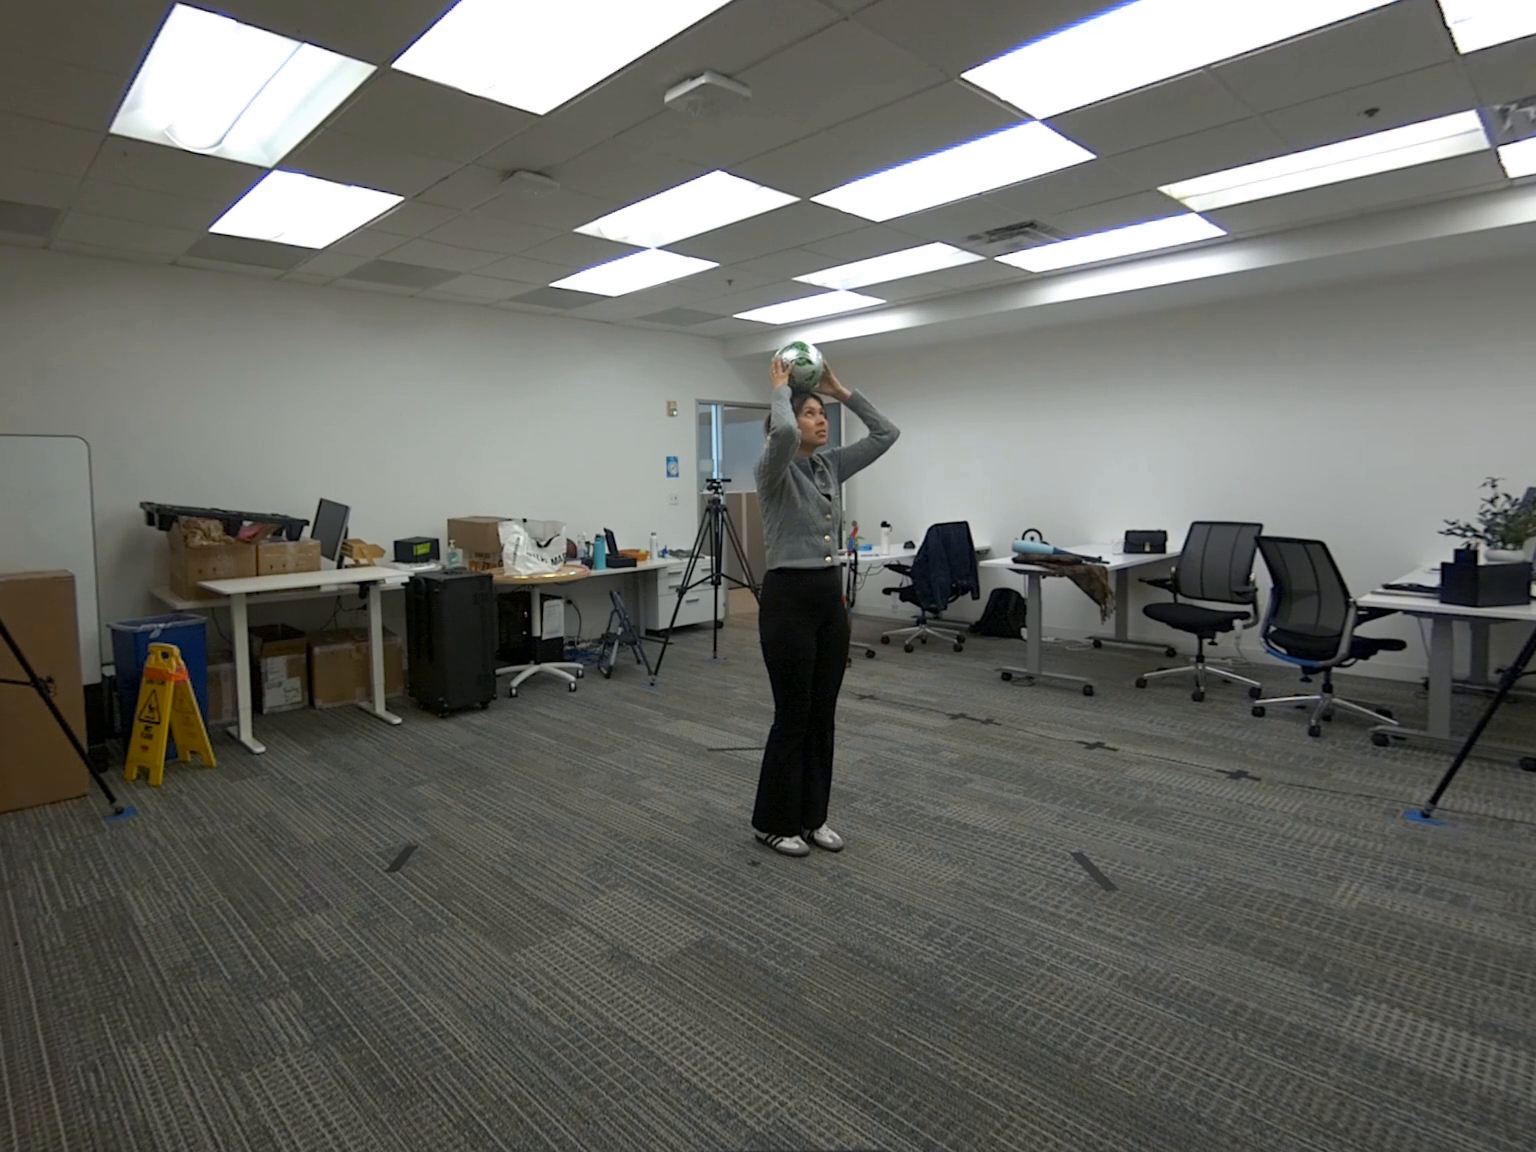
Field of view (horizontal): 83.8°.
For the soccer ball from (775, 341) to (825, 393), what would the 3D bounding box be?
[{"bbox_3d":[0.111,-0.766,3.140,0.187,0.187,0.188,-1,5,-2],"label":"soccer ball"}]
